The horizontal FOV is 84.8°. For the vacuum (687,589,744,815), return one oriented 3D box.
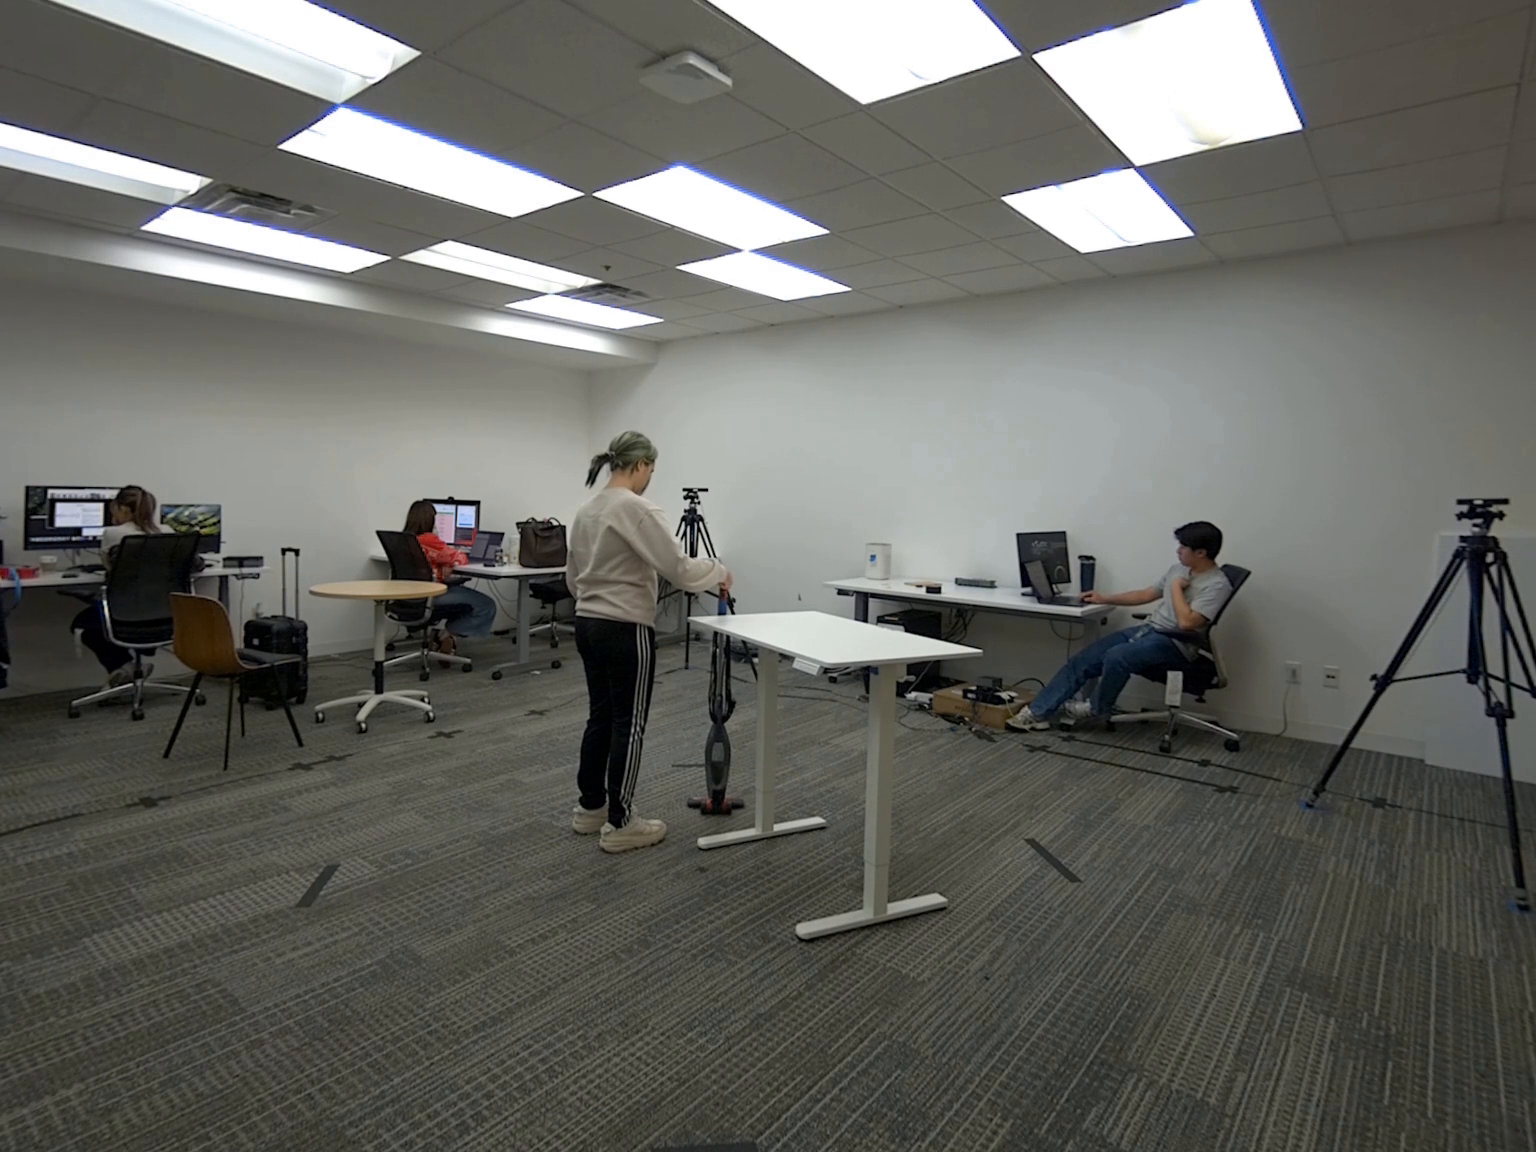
[{"bbox_3d":[-0.219,0.523,3.555,0.252,1.034,0.146,1,16,-2],"label":"vacuum"}]
